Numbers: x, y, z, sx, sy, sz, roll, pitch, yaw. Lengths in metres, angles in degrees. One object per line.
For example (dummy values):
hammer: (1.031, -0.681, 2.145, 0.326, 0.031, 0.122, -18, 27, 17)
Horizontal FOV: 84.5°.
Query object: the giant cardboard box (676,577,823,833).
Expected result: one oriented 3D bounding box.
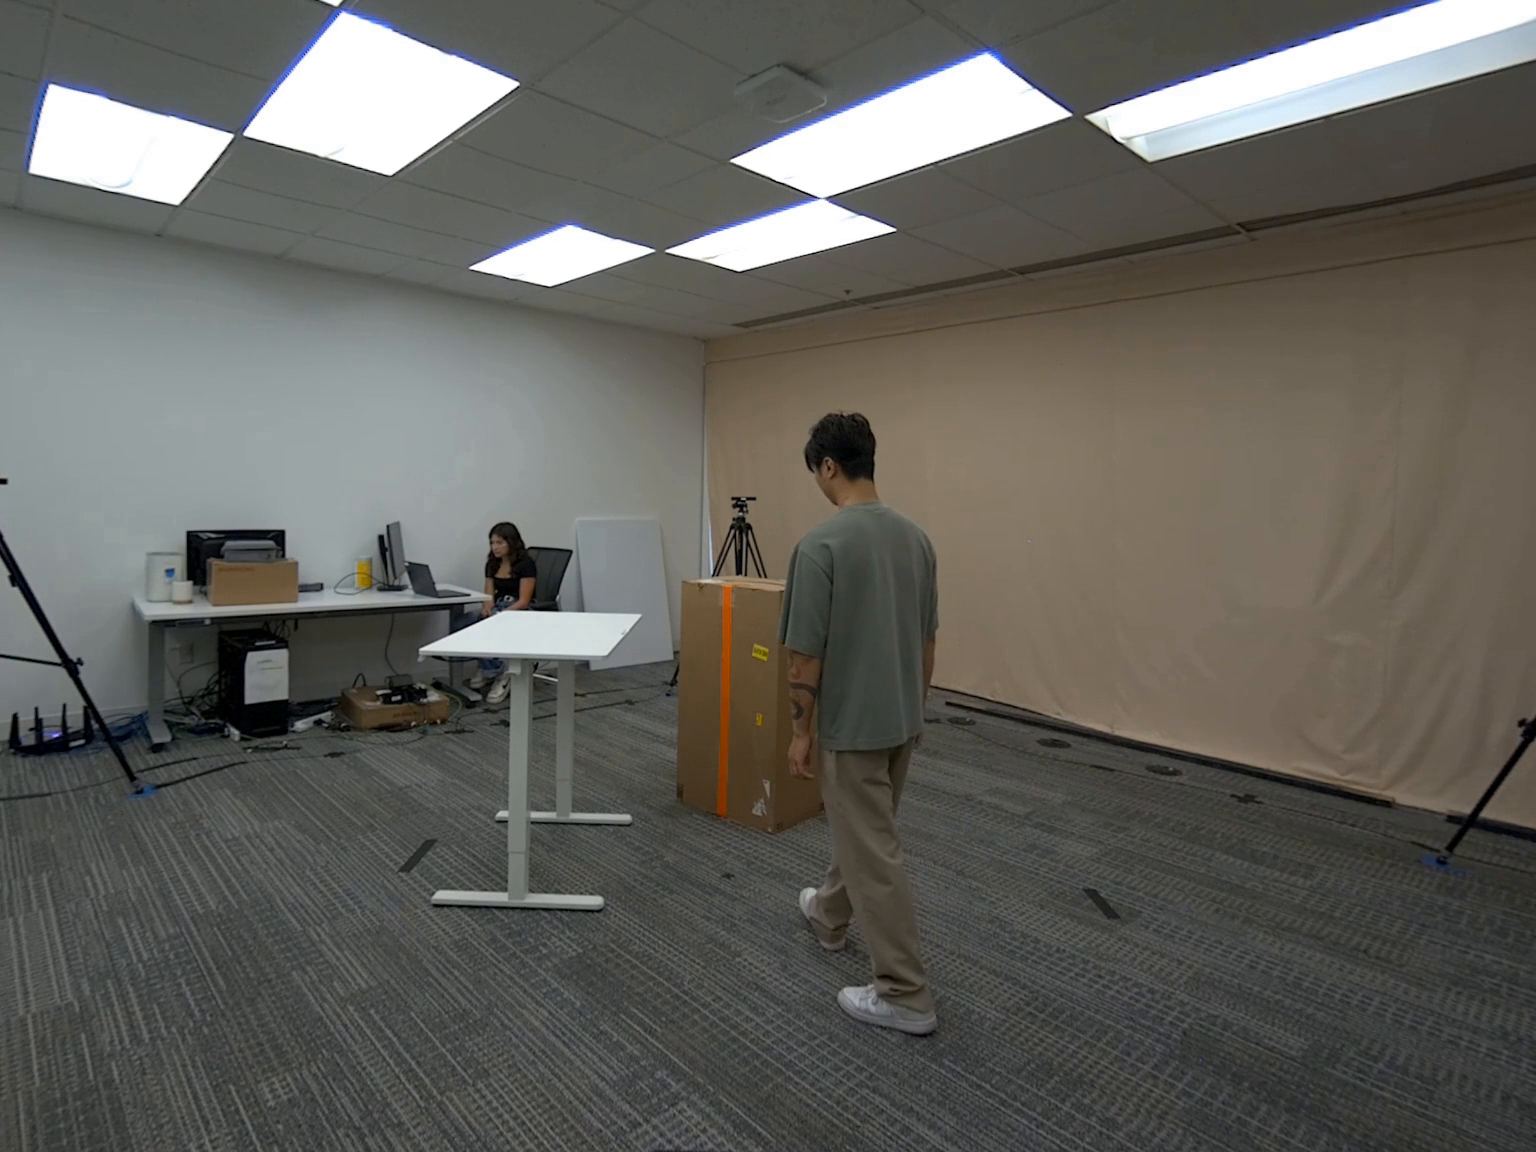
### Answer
giant cardboard box: (-0.066, 0.537, 3.822, 0.592, 1.024, 0.416, 4, 4, 40)
